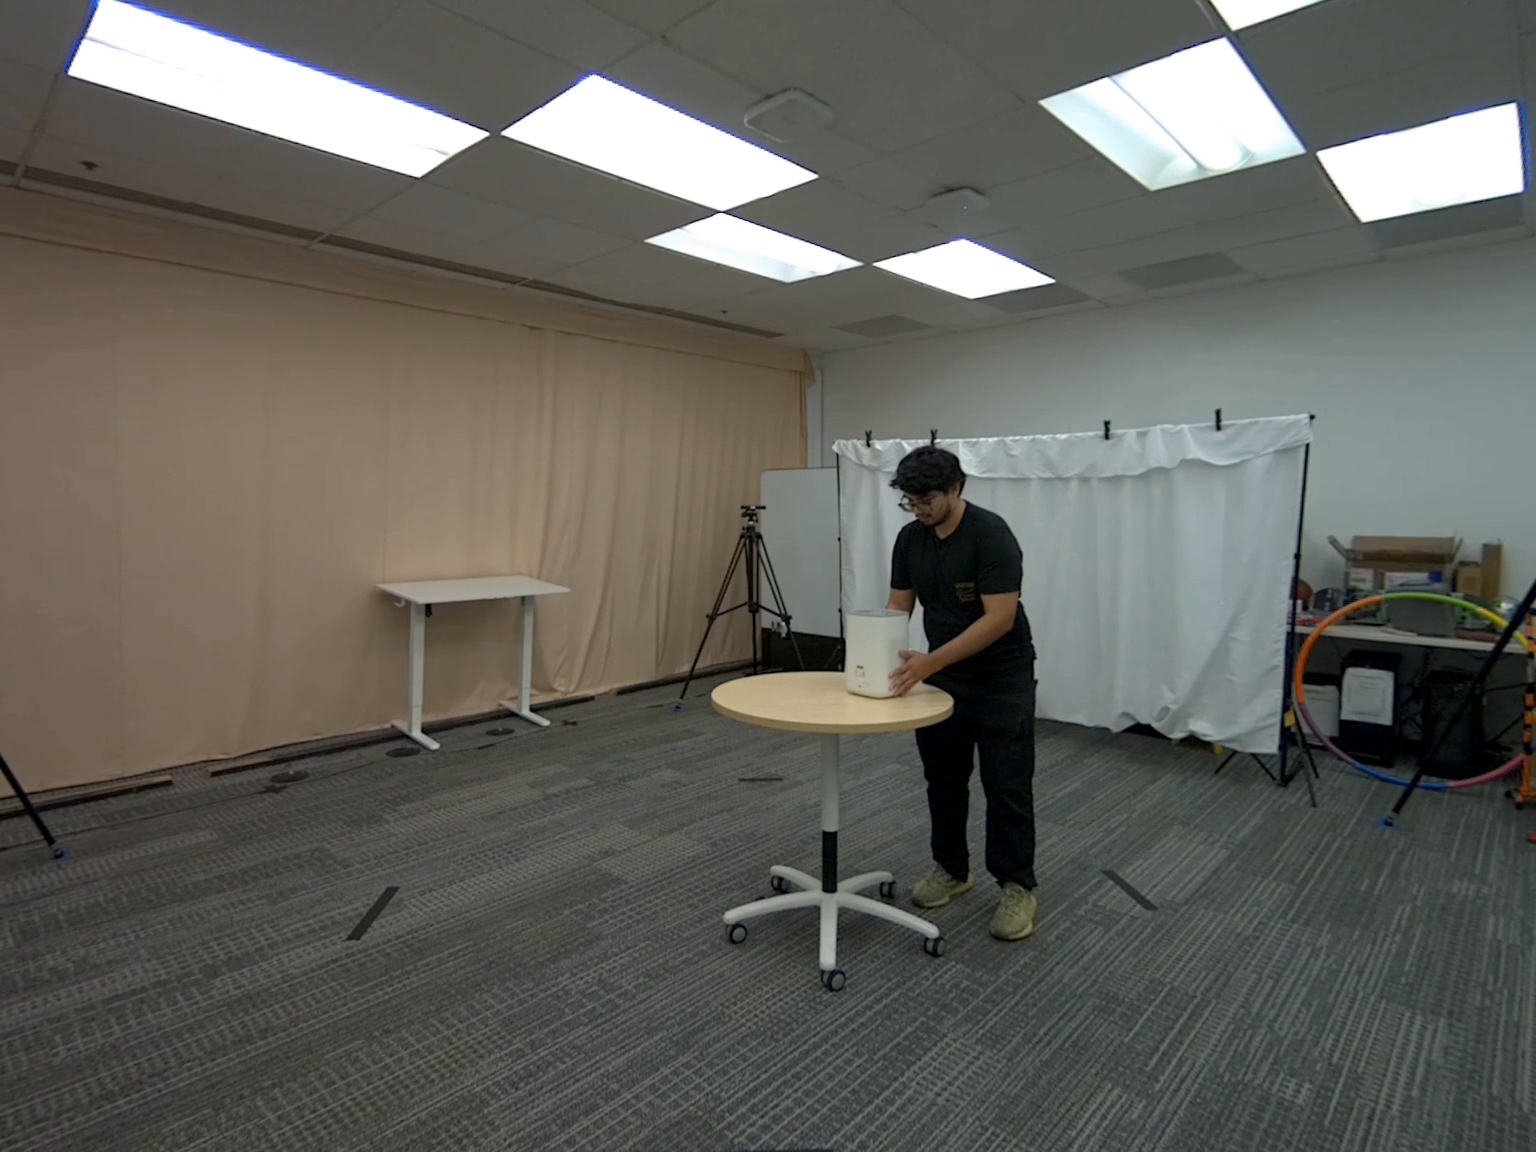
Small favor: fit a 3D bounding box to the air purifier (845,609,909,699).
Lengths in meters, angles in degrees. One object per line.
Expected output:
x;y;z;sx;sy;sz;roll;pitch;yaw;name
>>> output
0.364;0.251;2.721;0.177;0.265;0.166;3;5;40;air purifier
